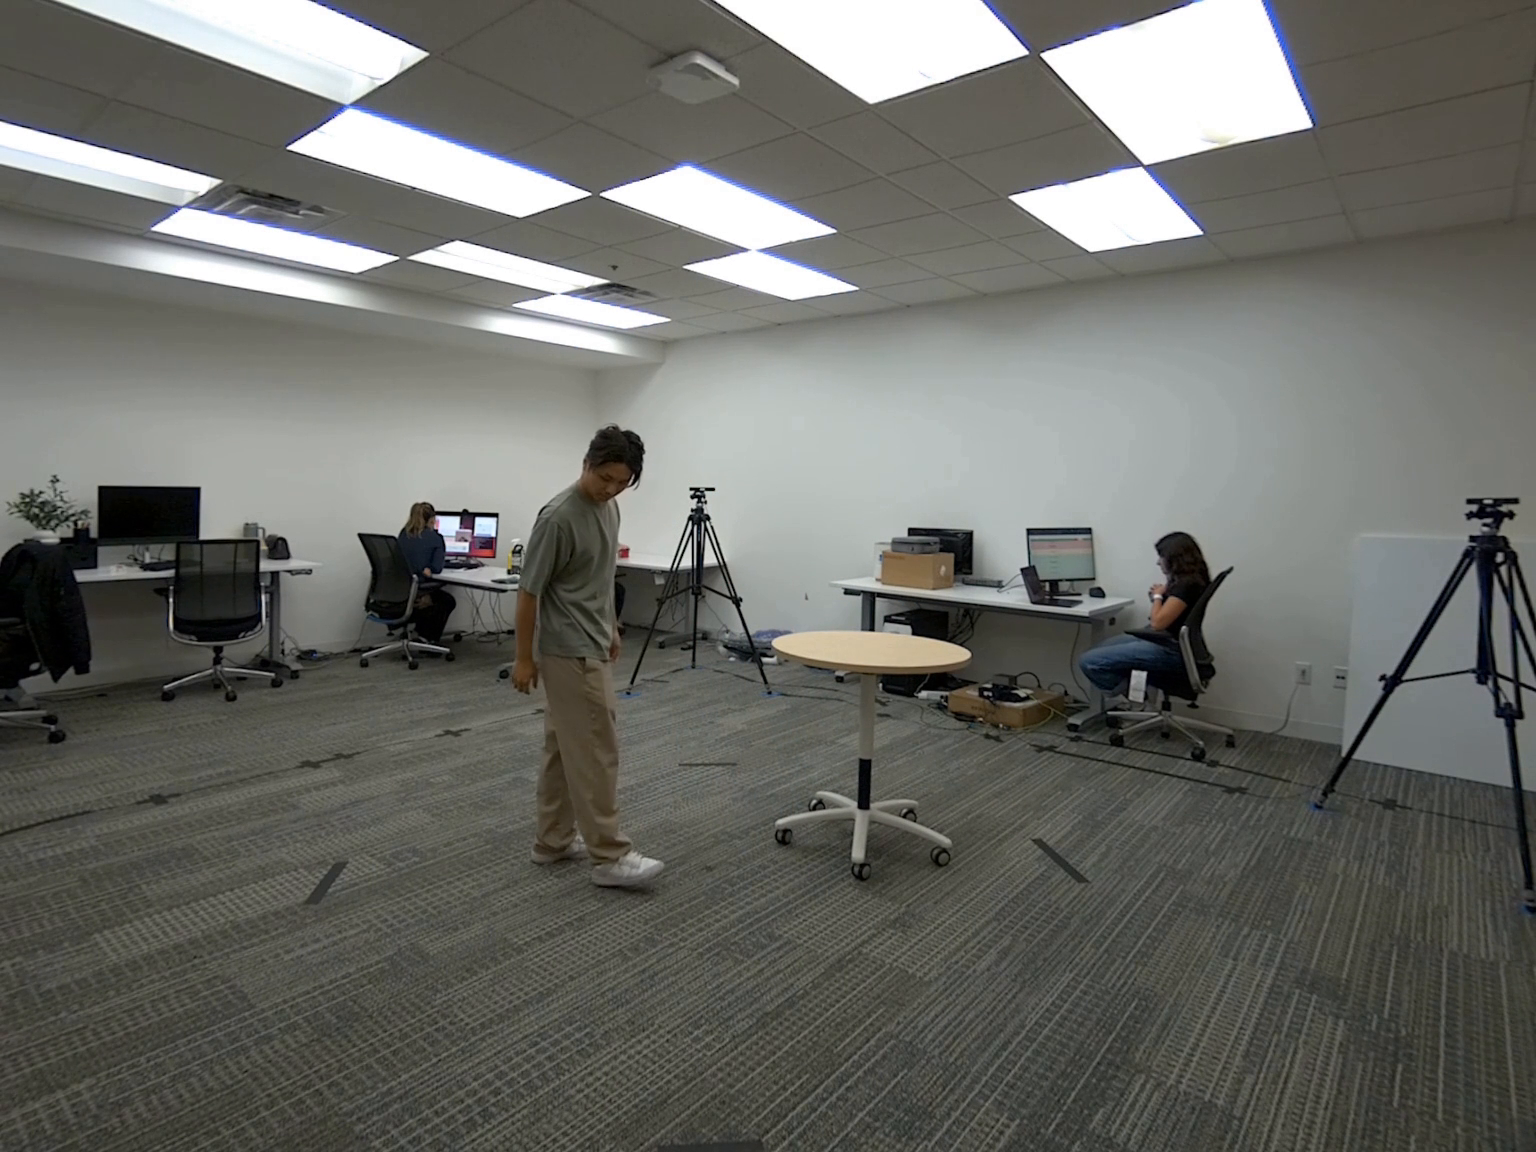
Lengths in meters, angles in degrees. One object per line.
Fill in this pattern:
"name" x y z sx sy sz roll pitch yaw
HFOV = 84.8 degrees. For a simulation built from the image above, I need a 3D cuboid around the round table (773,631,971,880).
"round table" 0.387 0.667 3.341 0.784 0.784 0.789 1 4 -2
